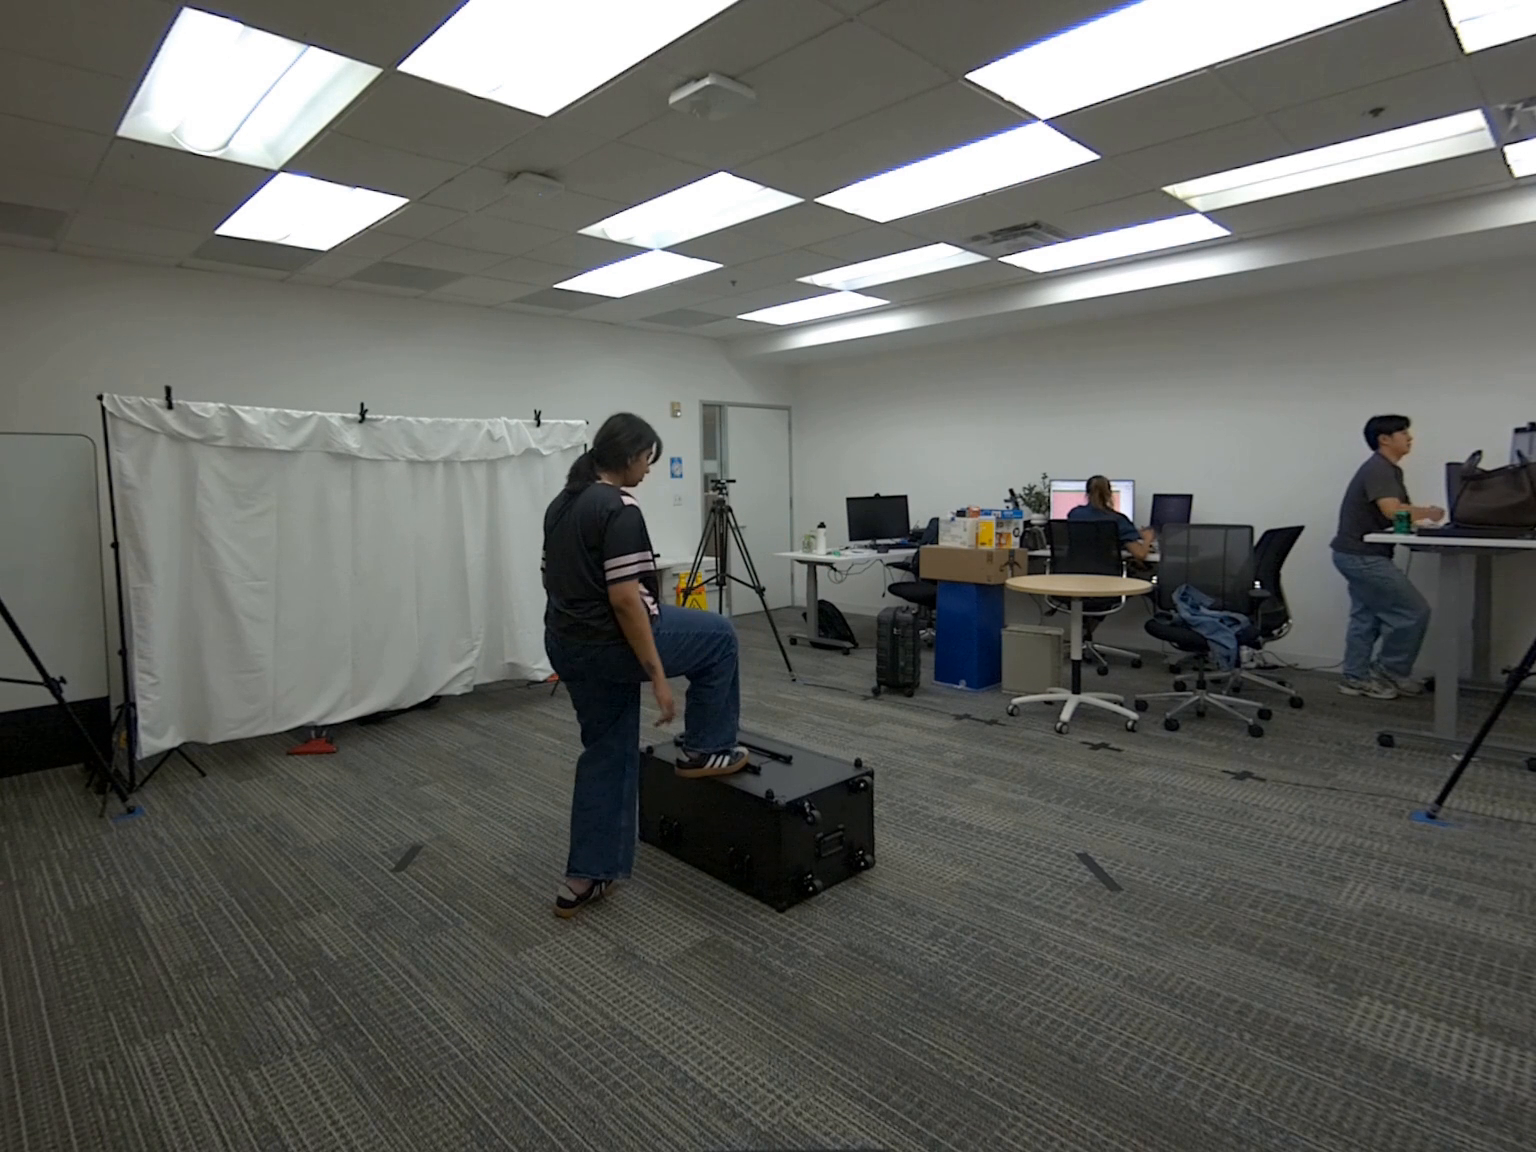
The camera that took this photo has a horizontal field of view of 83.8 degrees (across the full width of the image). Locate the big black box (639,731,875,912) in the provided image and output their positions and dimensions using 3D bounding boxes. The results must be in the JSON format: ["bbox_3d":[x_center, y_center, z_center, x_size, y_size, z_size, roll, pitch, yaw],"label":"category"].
[{"bbox_3d":[-0.030,0.856,3.169,0.509,0.384,0.895,-5,7,-43],"label":"big black box"}]
